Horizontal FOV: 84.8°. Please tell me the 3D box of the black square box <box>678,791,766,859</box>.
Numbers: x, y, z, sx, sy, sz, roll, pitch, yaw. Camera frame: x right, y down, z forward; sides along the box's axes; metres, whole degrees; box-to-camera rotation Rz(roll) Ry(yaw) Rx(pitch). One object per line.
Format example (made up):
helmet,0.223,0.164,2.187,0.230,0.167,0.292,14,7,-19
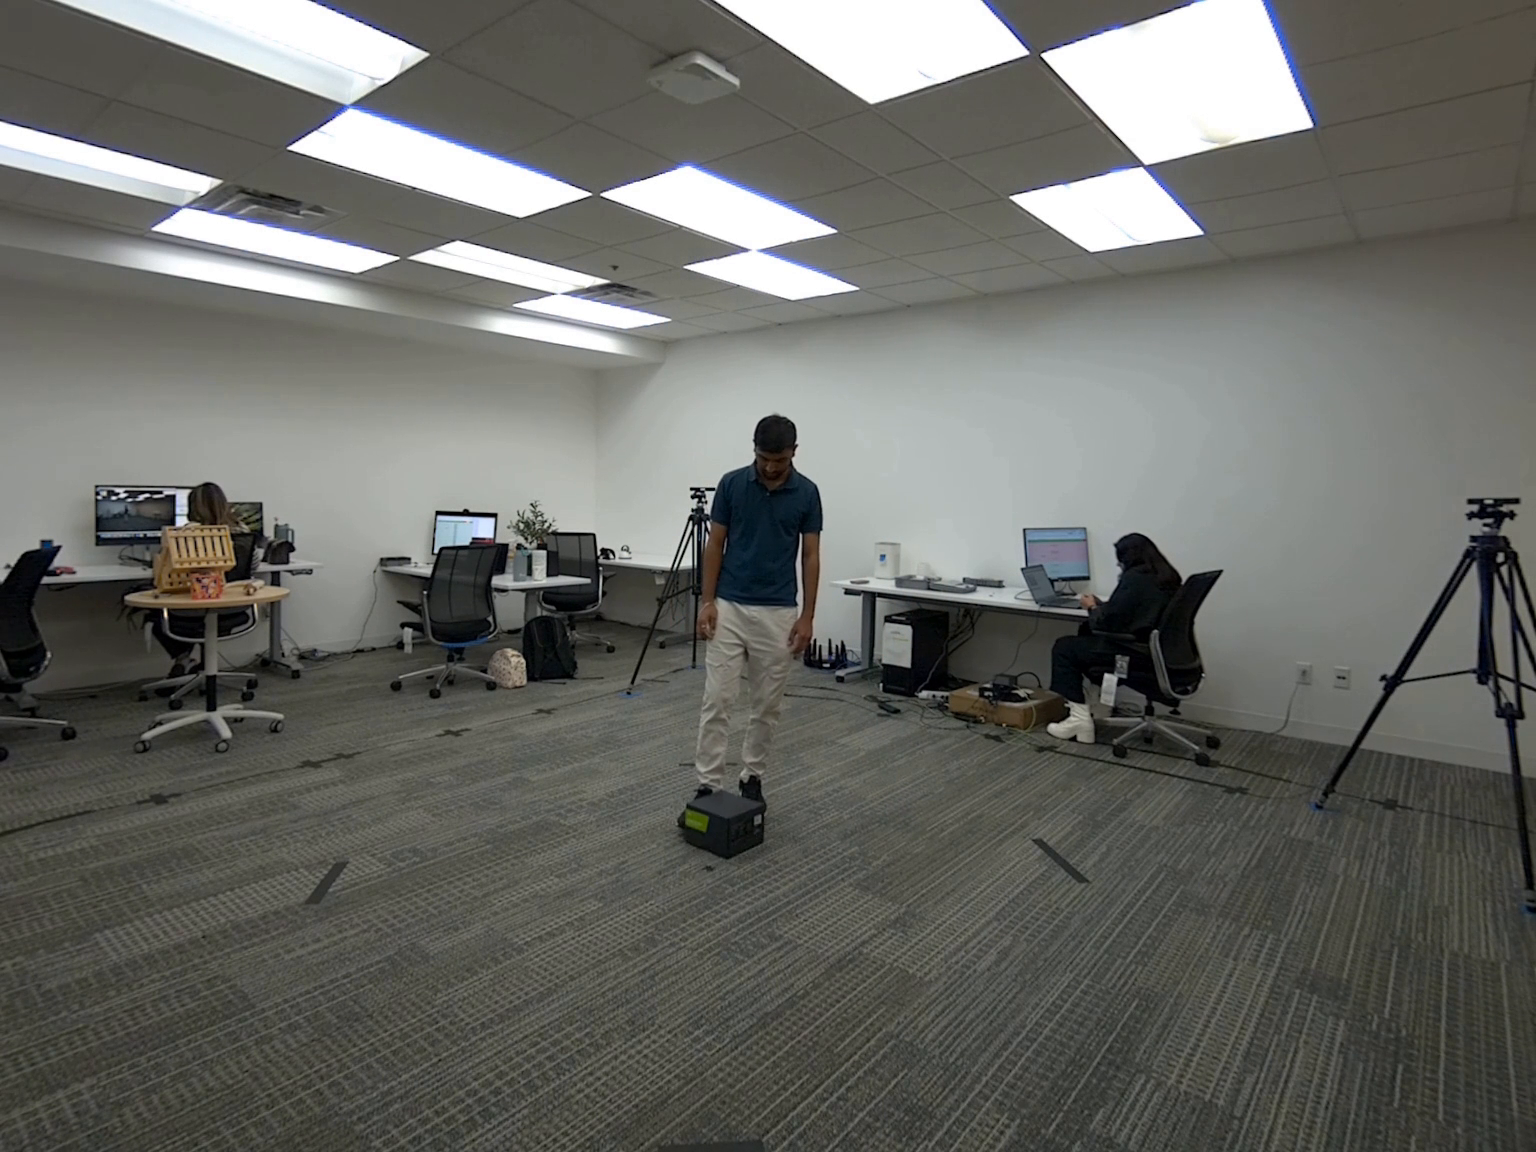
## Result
black square box,-0.181,0.958,3.338,0.236,0.155,0.210,5,7,41
